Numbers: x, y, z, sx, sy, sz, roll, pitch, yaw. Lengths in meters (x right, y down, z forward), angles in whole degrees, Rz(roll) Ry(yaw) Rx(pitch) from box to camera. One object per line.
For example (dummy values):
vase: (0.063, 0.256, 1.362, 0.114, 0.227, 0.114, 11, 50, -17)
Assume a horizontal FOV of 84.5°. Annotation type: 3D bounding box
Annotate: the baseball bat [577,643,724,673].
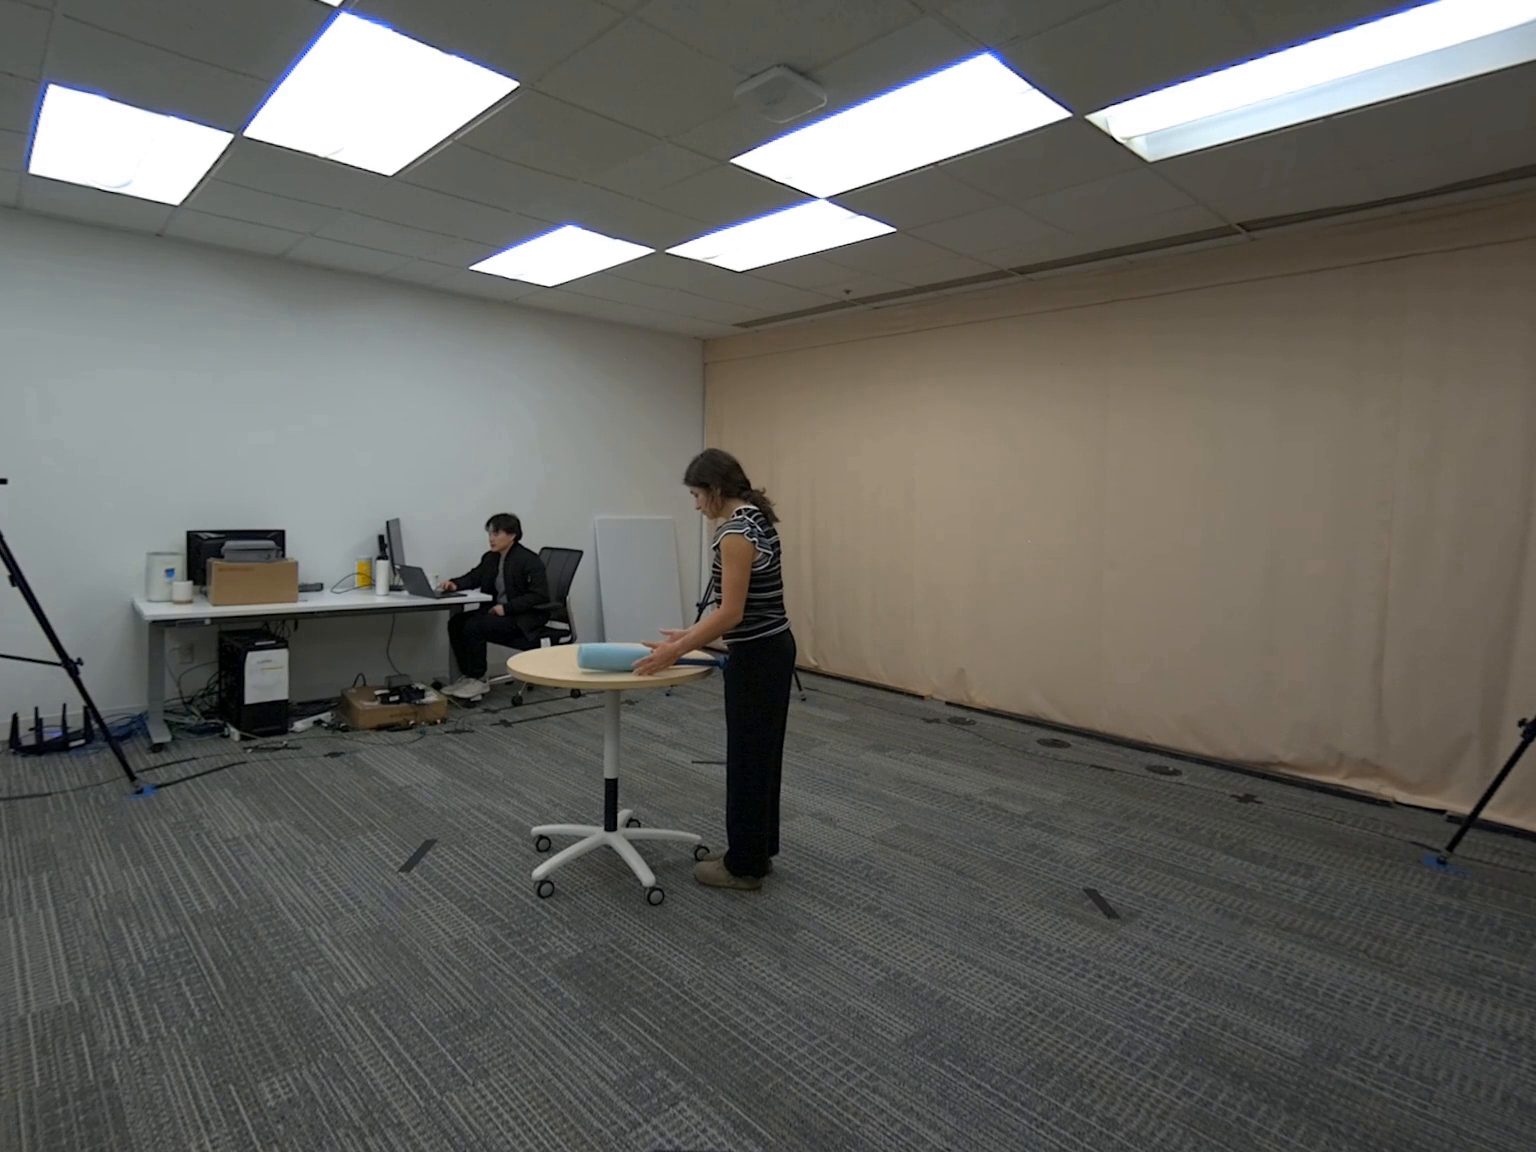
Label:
baseball bat: (-0.395, 0.292, 2.954, 0.535, 0.089, 0.090, 5, 3, -18)
